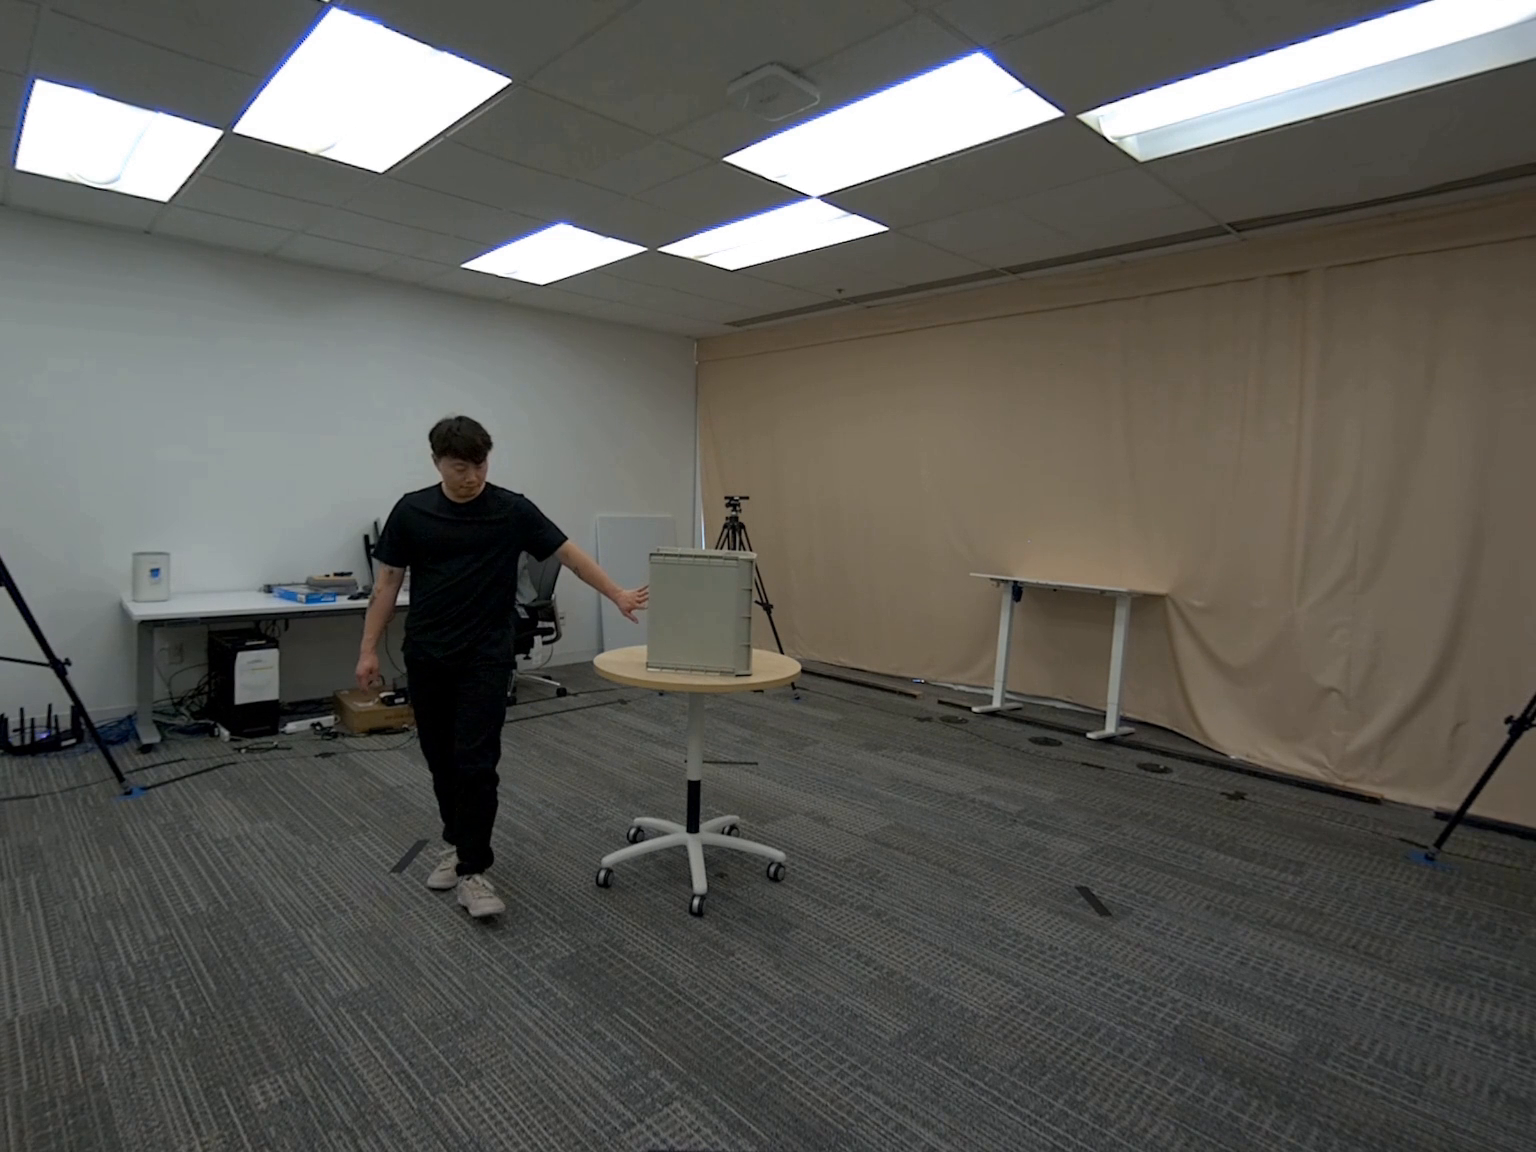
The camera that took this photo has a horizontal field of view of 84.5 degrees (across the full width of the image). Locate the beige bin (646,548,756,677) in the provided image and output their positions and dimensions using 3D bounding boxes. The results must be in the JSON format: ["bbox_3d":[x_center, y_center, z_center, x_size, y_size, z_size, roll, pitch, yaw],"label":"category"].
[{"bbox_3d":[-0.236,0.119,2.944,0.380,0.421,0.188,4,5,9],"label":"beige bin"}]
